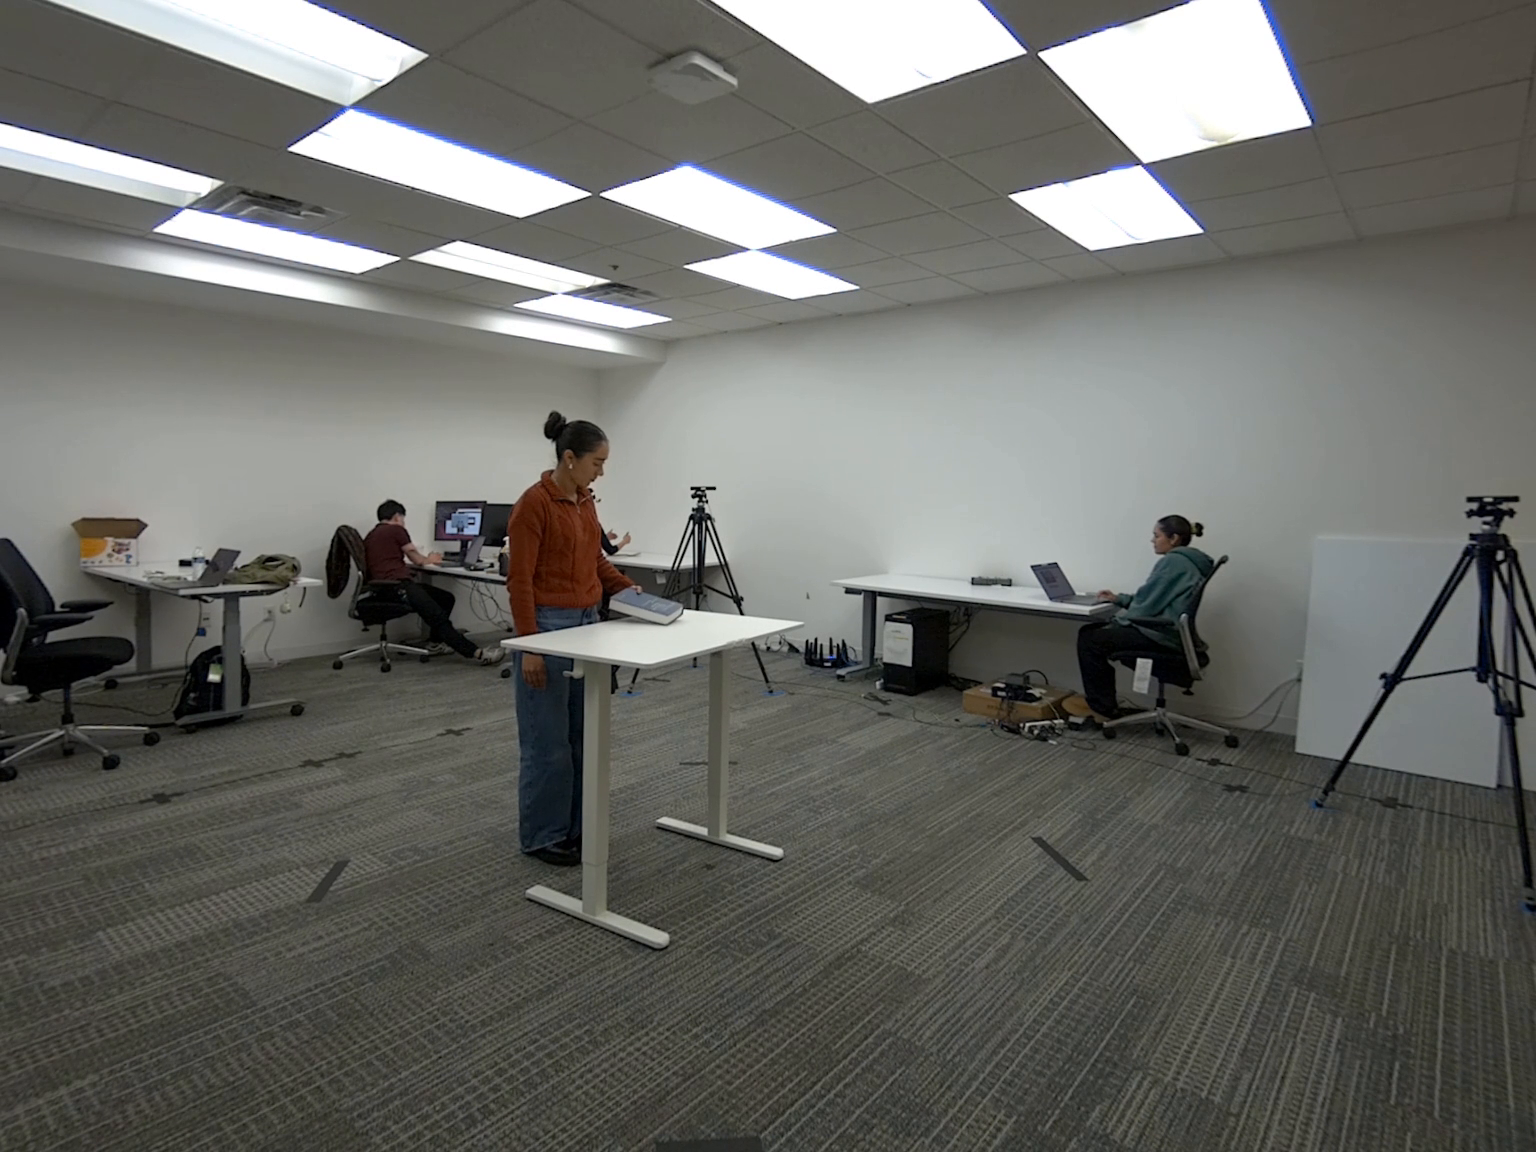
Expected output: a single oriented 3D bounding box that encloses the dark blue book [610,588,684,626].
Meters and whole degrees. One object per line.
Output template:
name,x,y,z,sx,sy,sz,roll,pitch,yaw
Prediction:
dark blue book,-0.464,0.115,3.215,0.248,0.045,0.163,15,14,10
